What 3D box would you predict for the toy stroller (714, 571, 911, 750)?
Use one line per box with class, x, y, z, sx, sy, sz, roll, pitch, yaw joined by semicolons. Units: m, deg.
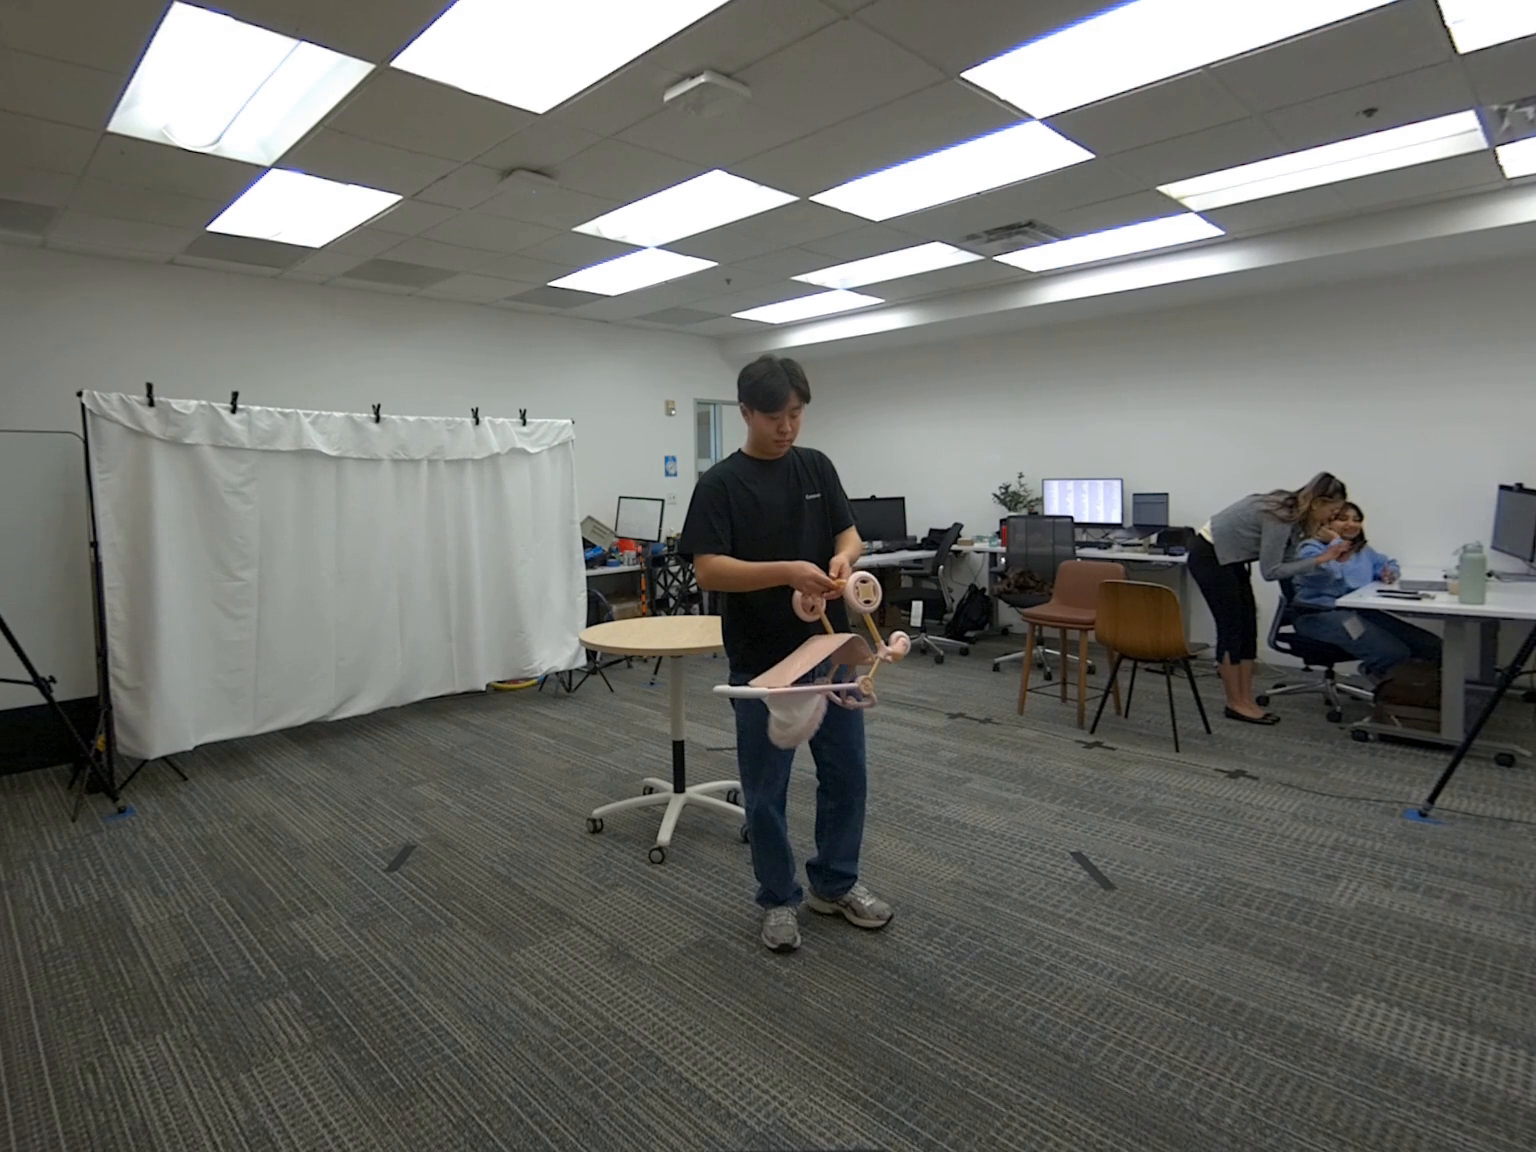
toy stroller;0.161;0.238;2.259;0.535;0.334;0.287;-47;19;-29
